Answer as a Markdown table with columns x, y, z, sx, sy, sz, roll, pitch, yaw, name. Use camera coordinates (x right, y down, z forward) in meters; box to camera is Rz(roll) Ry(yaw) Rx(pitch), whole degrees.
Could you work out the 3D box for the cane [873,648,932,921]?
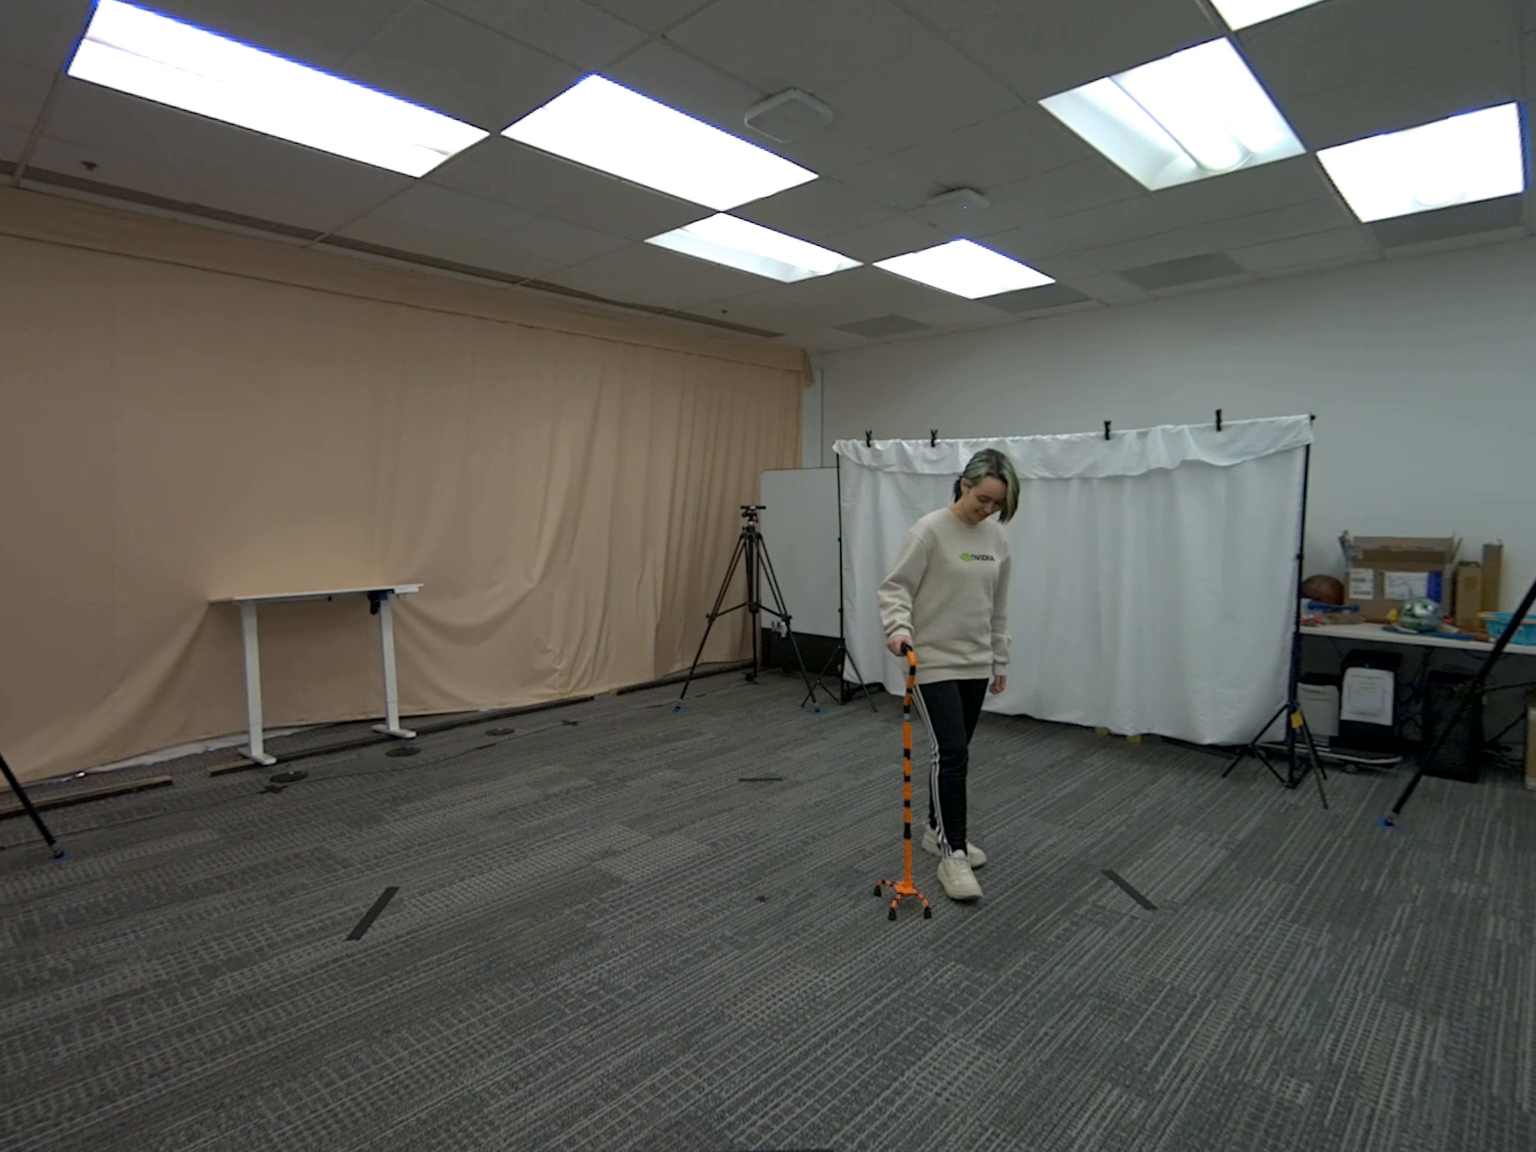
| x | y | z | sx | sy | sz | roll | pitch | yaw | name |
| --- | --- | --- | --- | --- | --- | --- | --- | --- | --- |
| 0.470 | 0.696 | 2.905 | 0.150 | 0.906 | 0.209 | -1 | 3 | -9 | cane |
